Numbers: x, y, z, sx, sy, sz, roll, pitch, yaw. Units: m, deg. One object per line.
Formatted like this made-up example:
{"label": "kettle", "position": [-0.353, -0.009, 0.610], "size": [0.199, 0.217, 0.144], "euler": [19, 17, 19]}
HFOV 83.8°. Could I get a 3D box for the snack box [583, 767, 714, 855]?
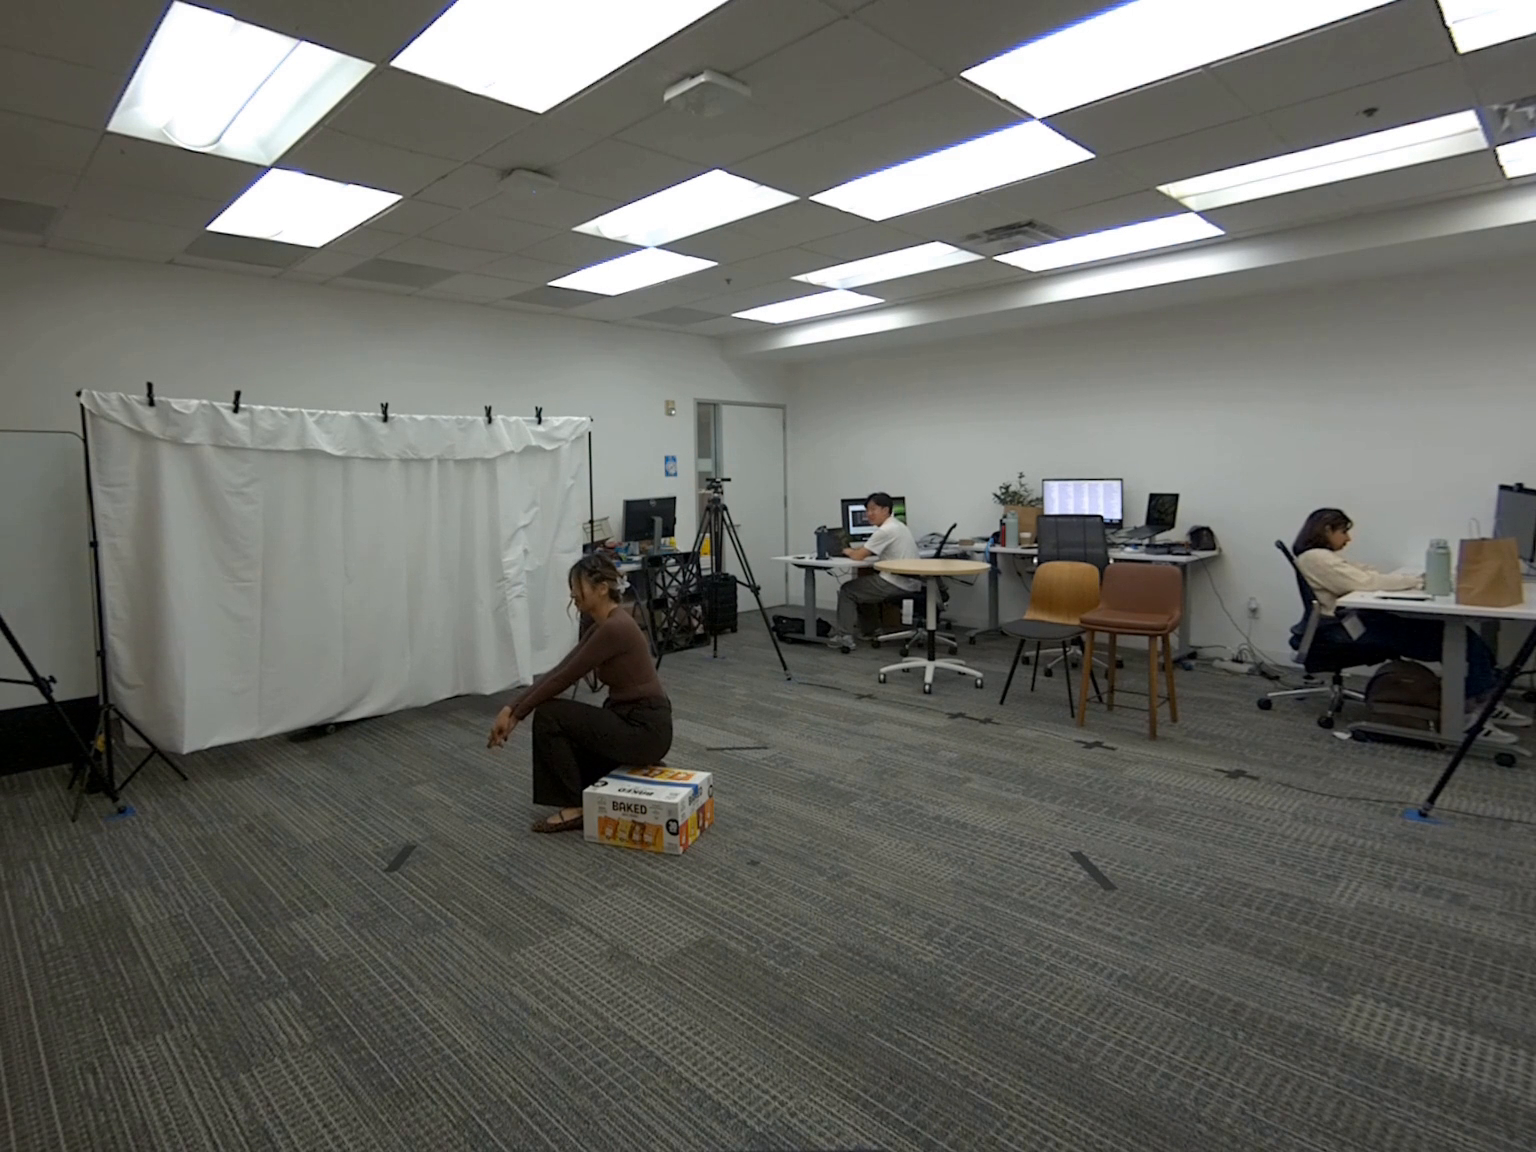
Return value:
{"label": "snack box", "position": [-0.470, 0.914, 3.389], "size": [0.413, 0.205, 0.335], "euler": [1, 6, 20]}
